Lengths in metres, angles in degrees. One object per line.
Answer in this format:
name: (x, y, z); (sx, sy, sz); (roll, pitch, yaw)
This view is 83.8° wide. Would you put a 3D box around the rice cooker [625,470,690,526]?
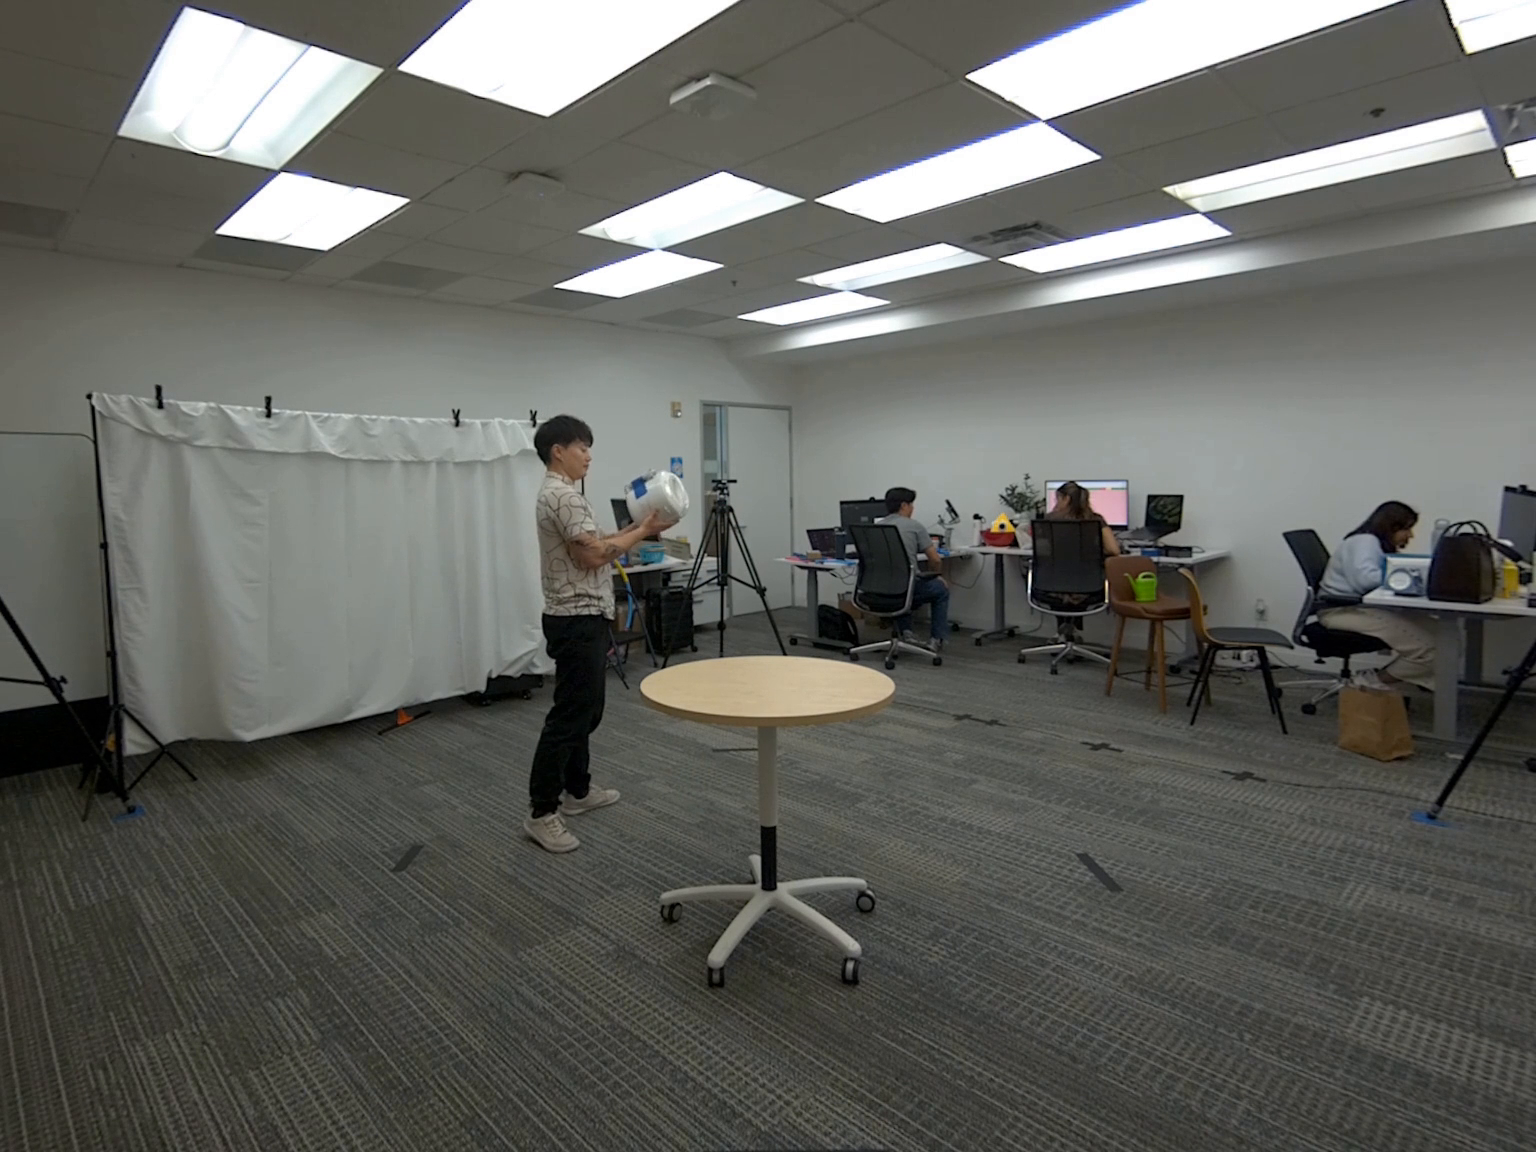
rice cooker: (-0.446, -0.312, 3.546); (0.235, 0.226, 0.210); (-23, -21, 18)
